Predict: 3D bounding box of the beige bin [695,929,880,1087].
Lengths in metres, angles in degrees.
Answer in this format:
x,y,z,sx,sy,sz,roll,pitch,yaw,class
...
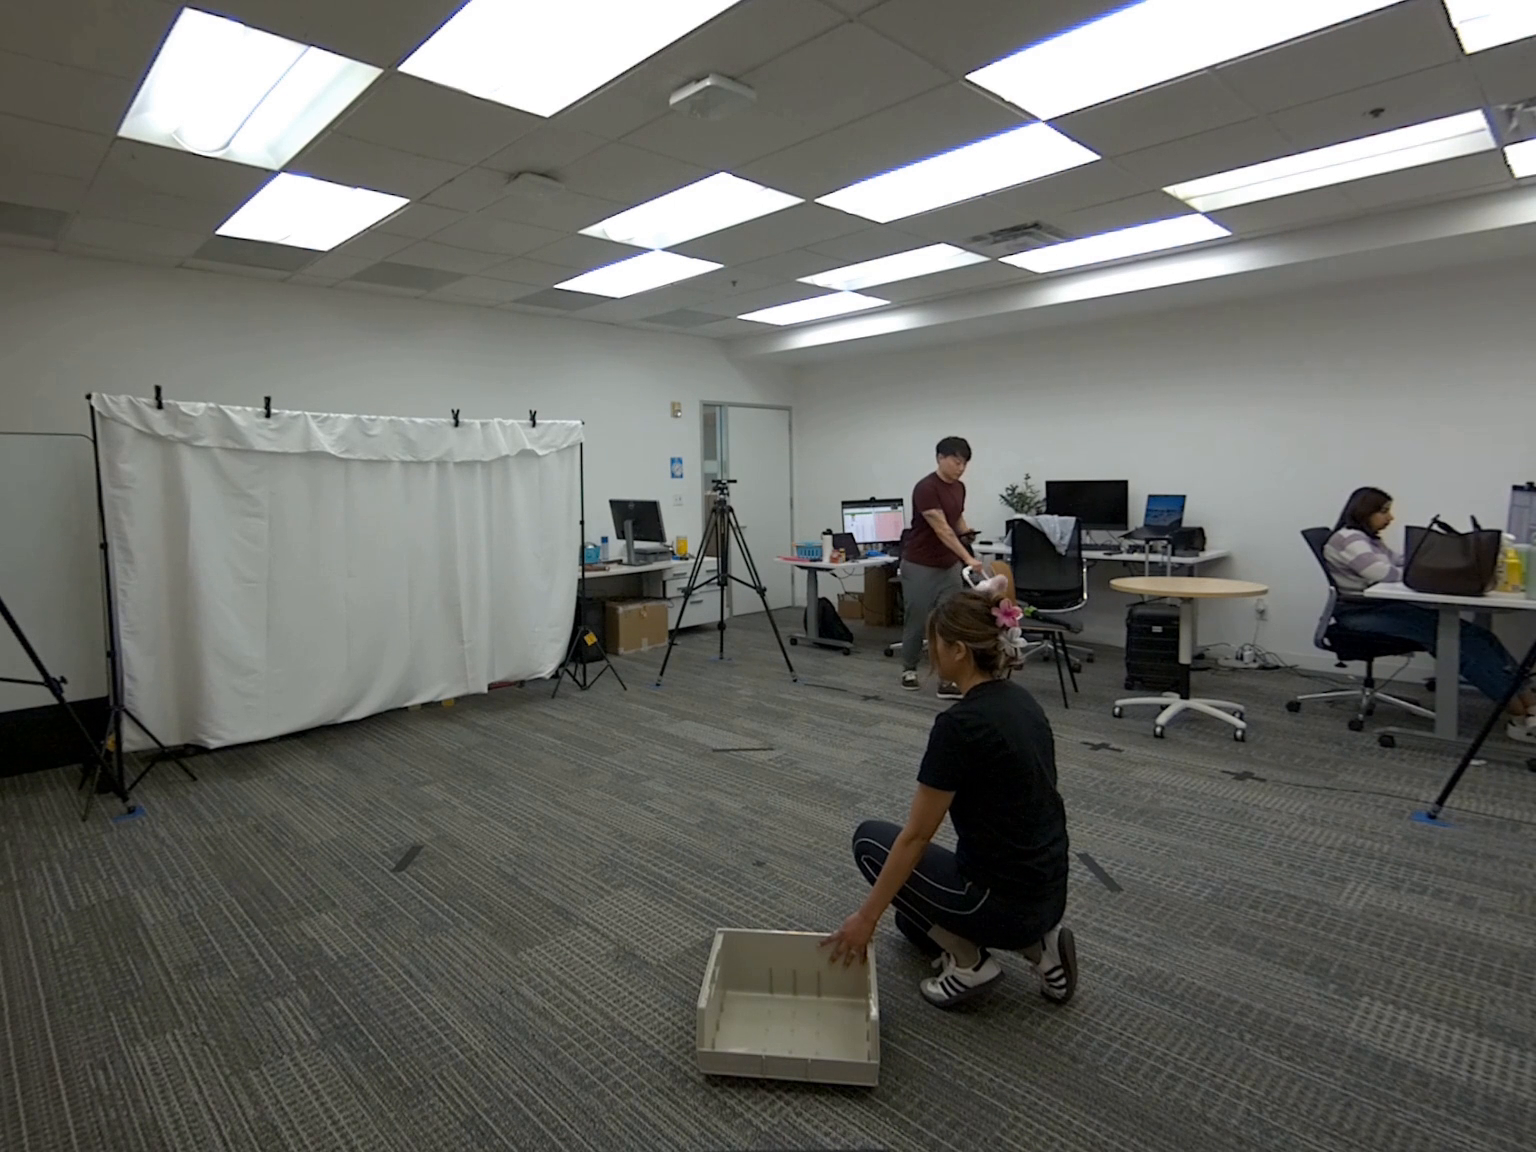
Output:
x,y,z,sx,sy,sz,roll,pitch,yaw,class
0.064,1.073,2.115,0.425,0.188,0.376,-1,5,6,beige bin
